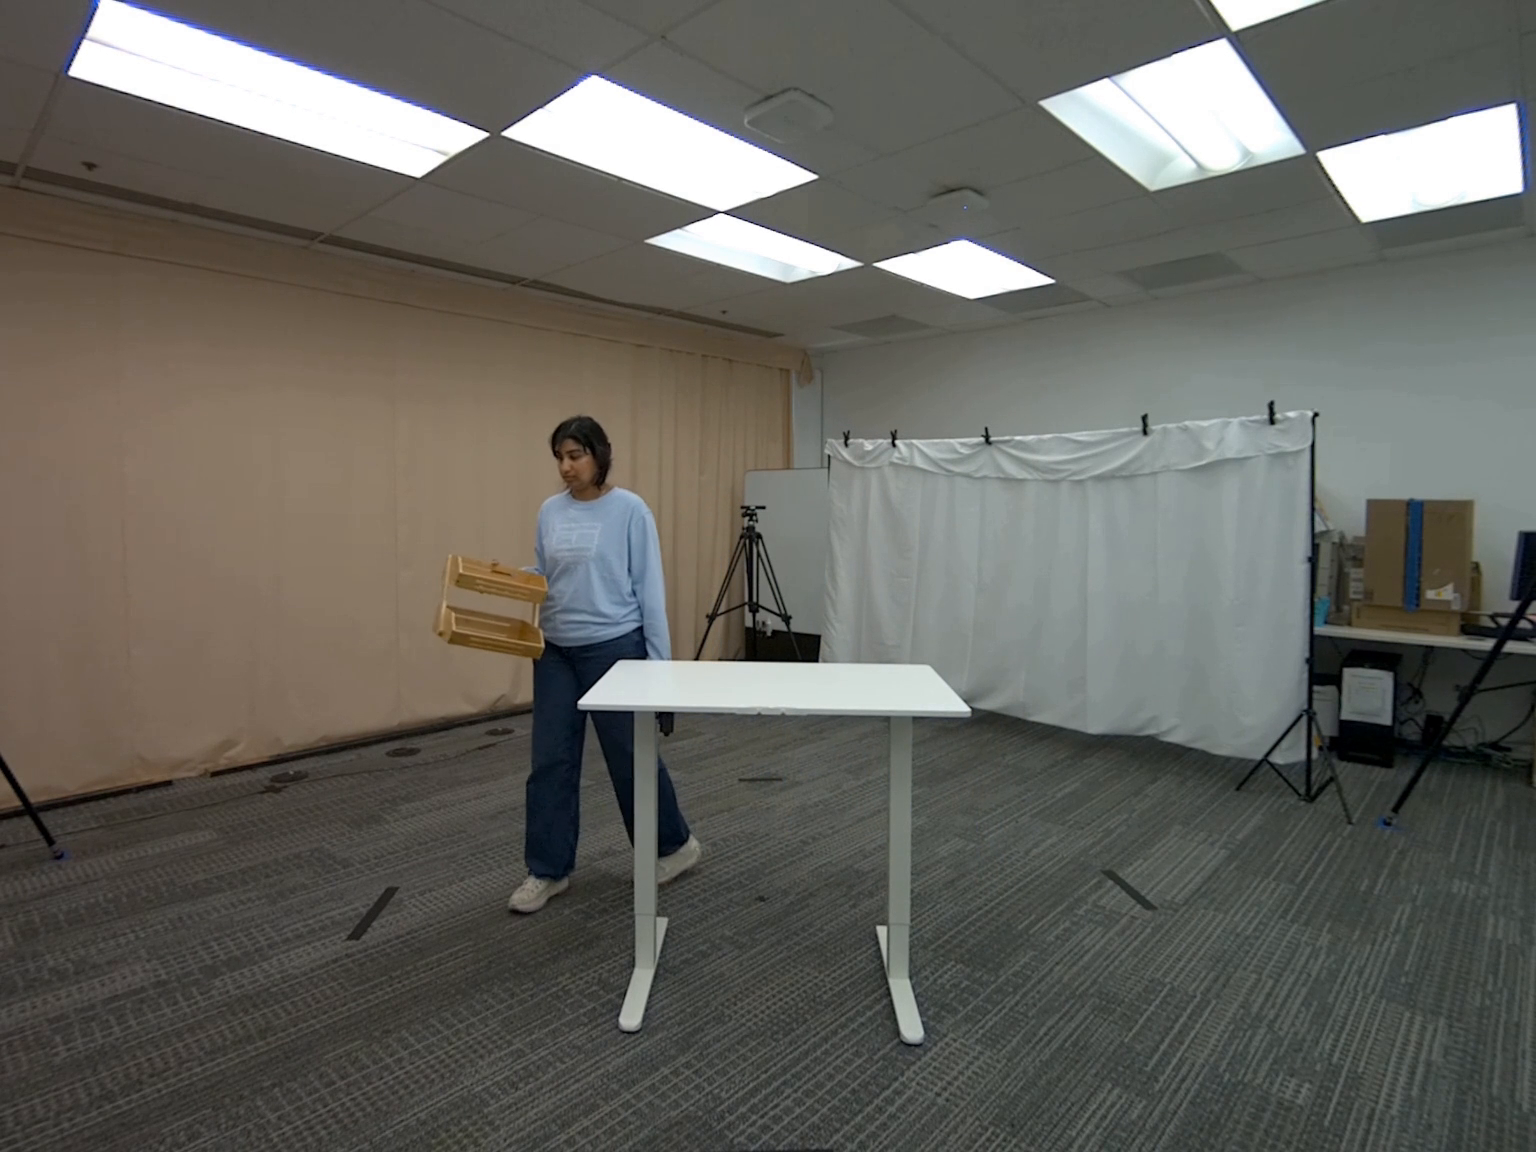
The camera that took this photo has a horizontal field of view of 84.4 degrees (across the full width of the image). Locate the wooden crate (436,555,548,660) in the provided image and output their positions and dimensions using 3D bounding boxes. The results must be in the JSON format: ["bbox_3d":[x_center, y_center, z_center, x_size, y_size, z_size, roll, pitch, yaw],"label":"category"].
[{"bbox_3d":[-0.896,0.093,2.762,0.314,0.273,0.311,15,-3,-31],"label":"wooden crate"}]
